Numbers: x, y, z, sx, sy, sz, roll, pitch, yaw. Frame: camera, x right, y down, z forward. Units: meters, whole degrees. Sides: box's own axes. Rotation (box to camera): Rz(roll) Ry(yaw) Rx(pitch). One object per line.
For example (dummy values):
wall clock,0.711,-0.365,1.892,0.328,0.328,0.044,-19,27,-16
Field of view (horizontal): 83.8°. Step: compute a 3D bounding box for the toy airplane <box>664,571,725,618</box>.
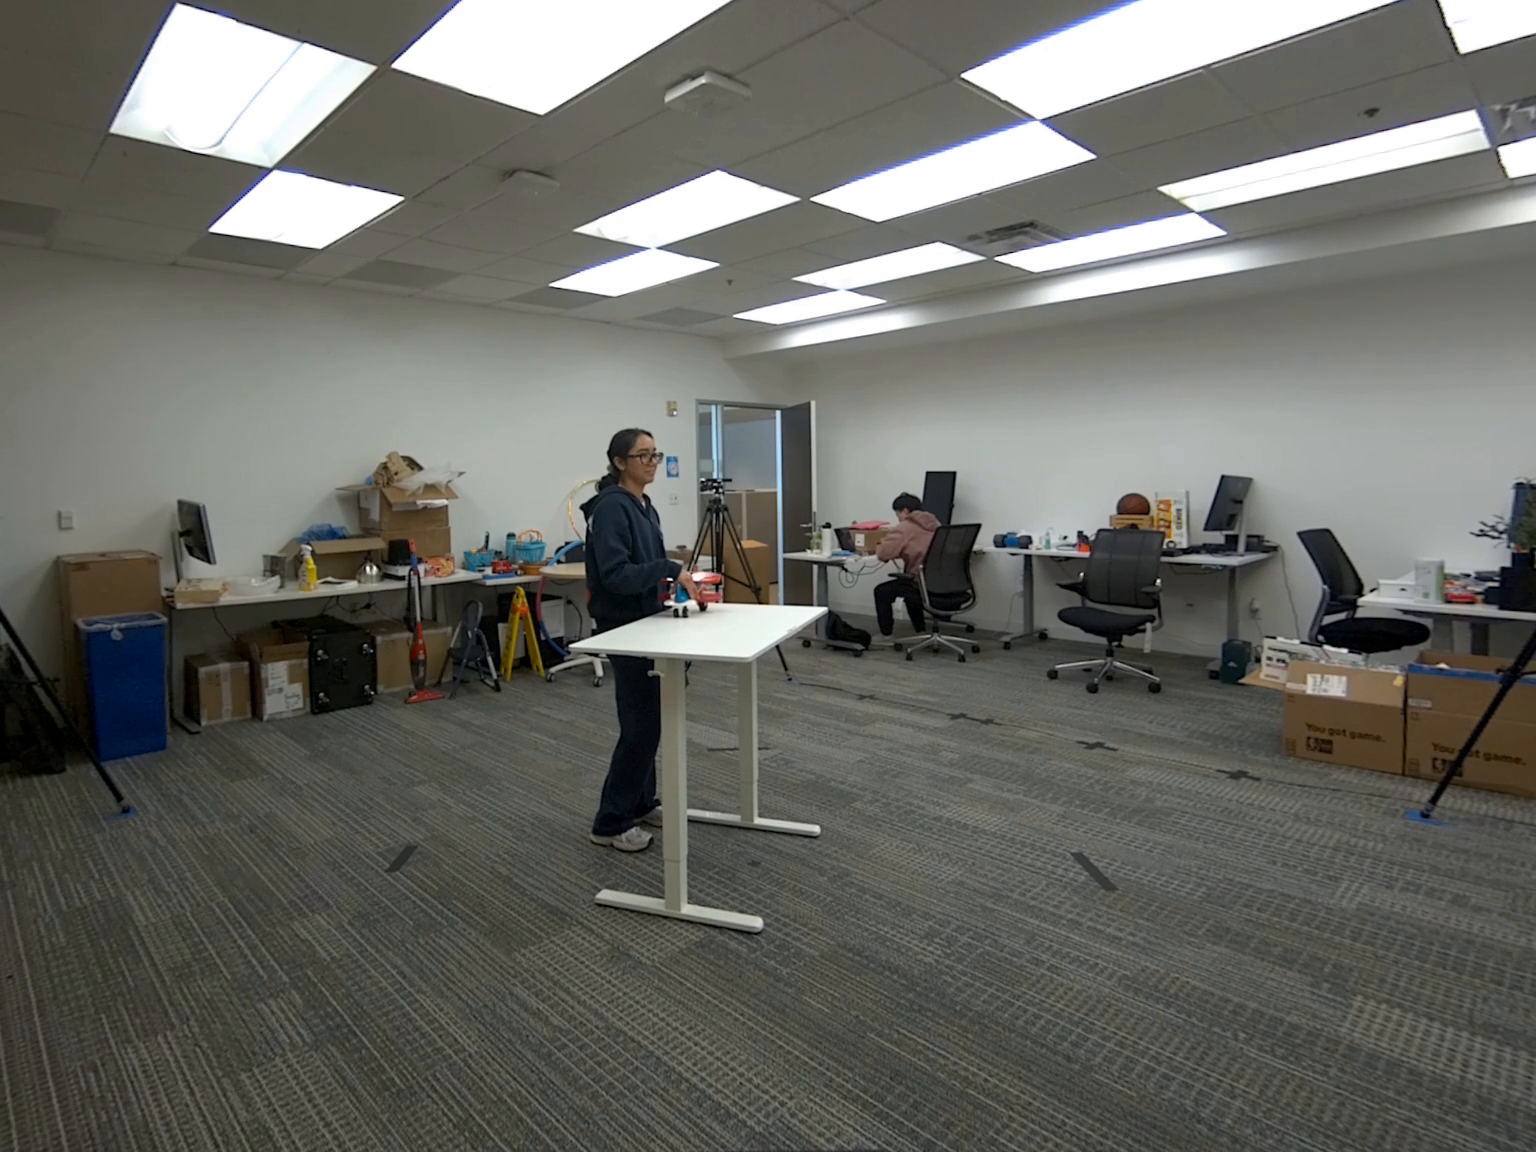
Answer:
toy airplane,-0.292,0.071,3.289,0.248,0.156,0.264,-1,4,-15
